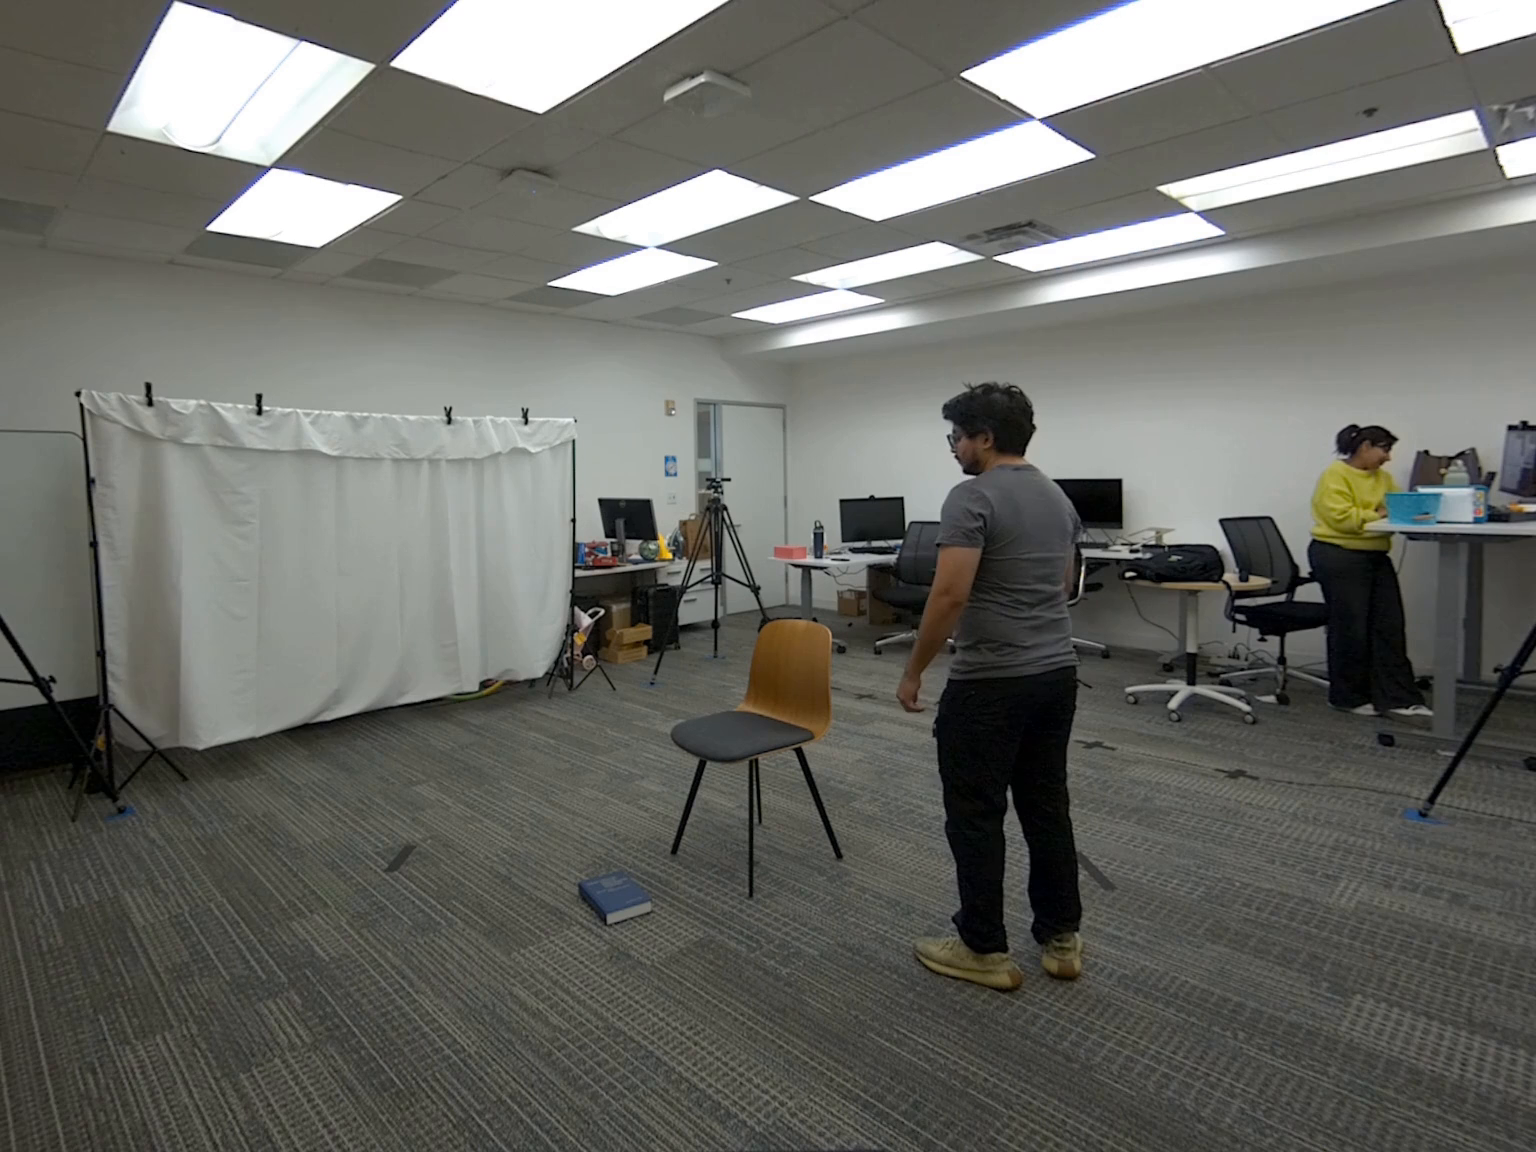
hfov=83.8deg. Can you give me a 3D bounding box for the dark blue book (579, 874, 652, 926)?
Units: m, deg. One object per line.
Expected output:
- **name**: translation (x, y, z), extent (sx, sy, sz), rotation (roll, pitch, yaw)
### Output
- **dark blue book**: translation (-0.501, 1.058, 2.823), extent (0.159, 0.045, 0.252), rotation (-6, 8, -32)
